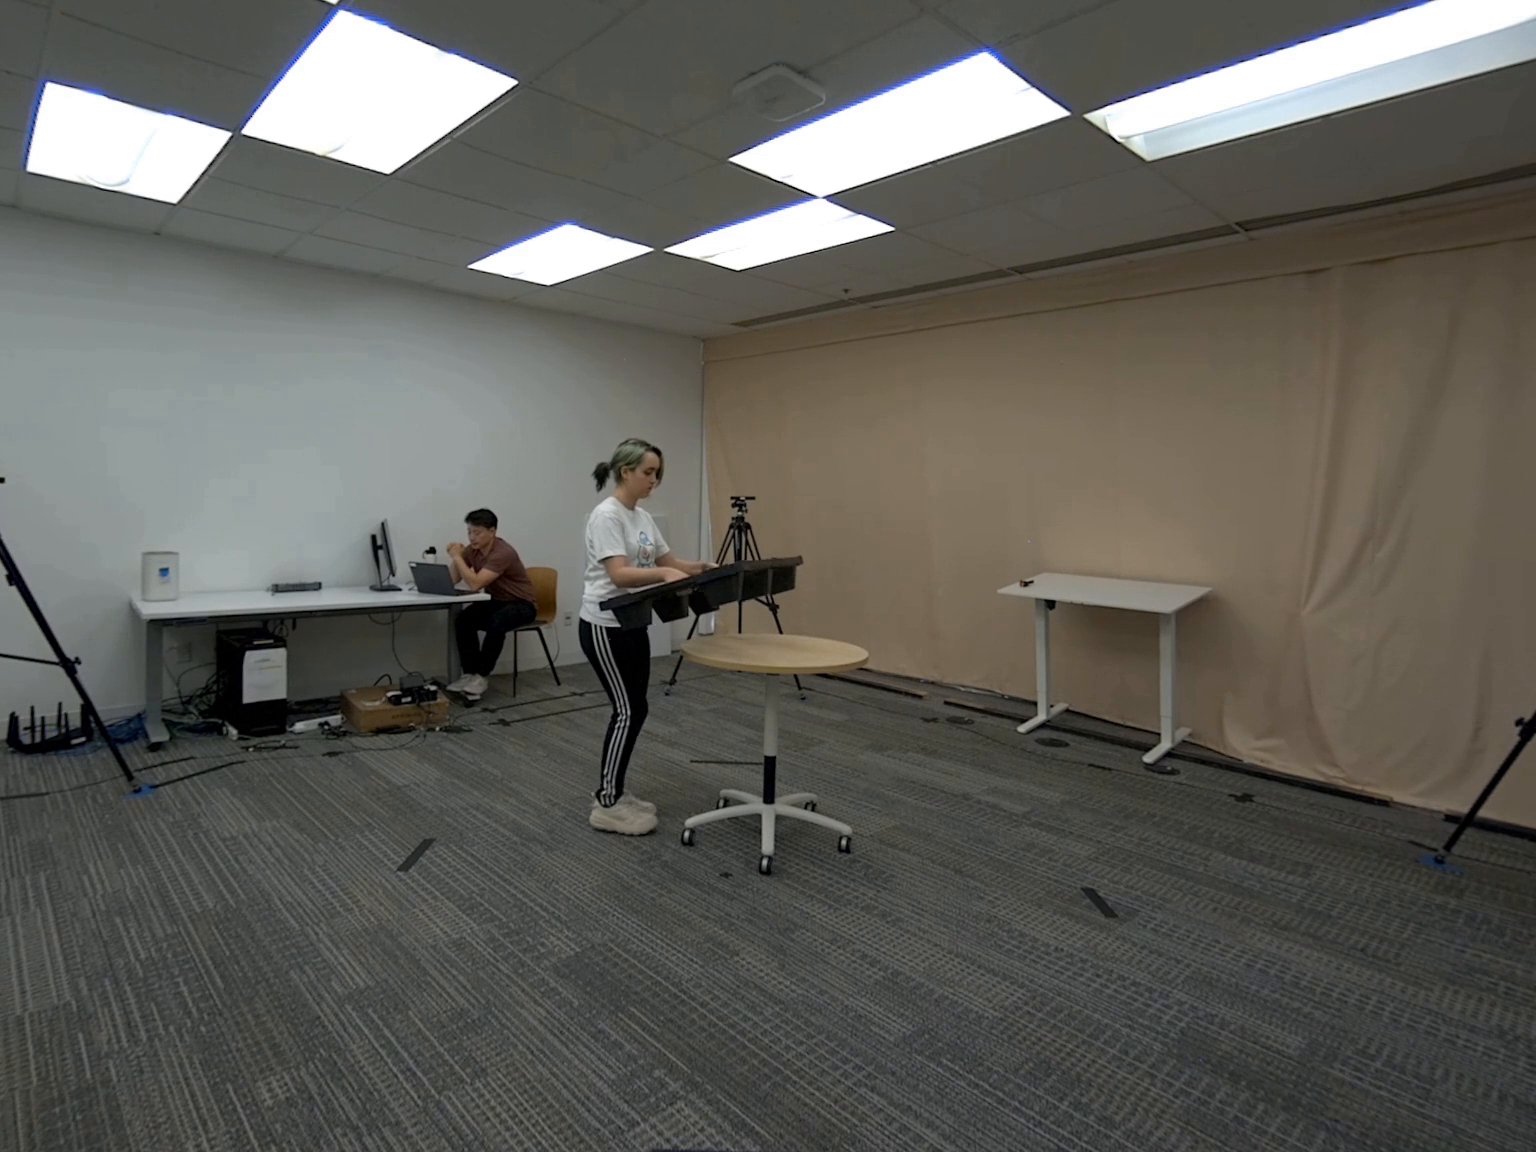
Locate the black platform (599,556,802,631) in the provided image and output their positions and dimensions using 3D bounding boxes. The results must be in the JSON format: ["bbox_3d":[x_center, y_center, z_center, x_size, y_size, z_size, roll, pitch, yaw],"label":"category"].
[{"bbox_3d":[-0.236,0.068,3.418,0.612,0.144,0.794,-14,-2,20],"label":"black platform"}]
